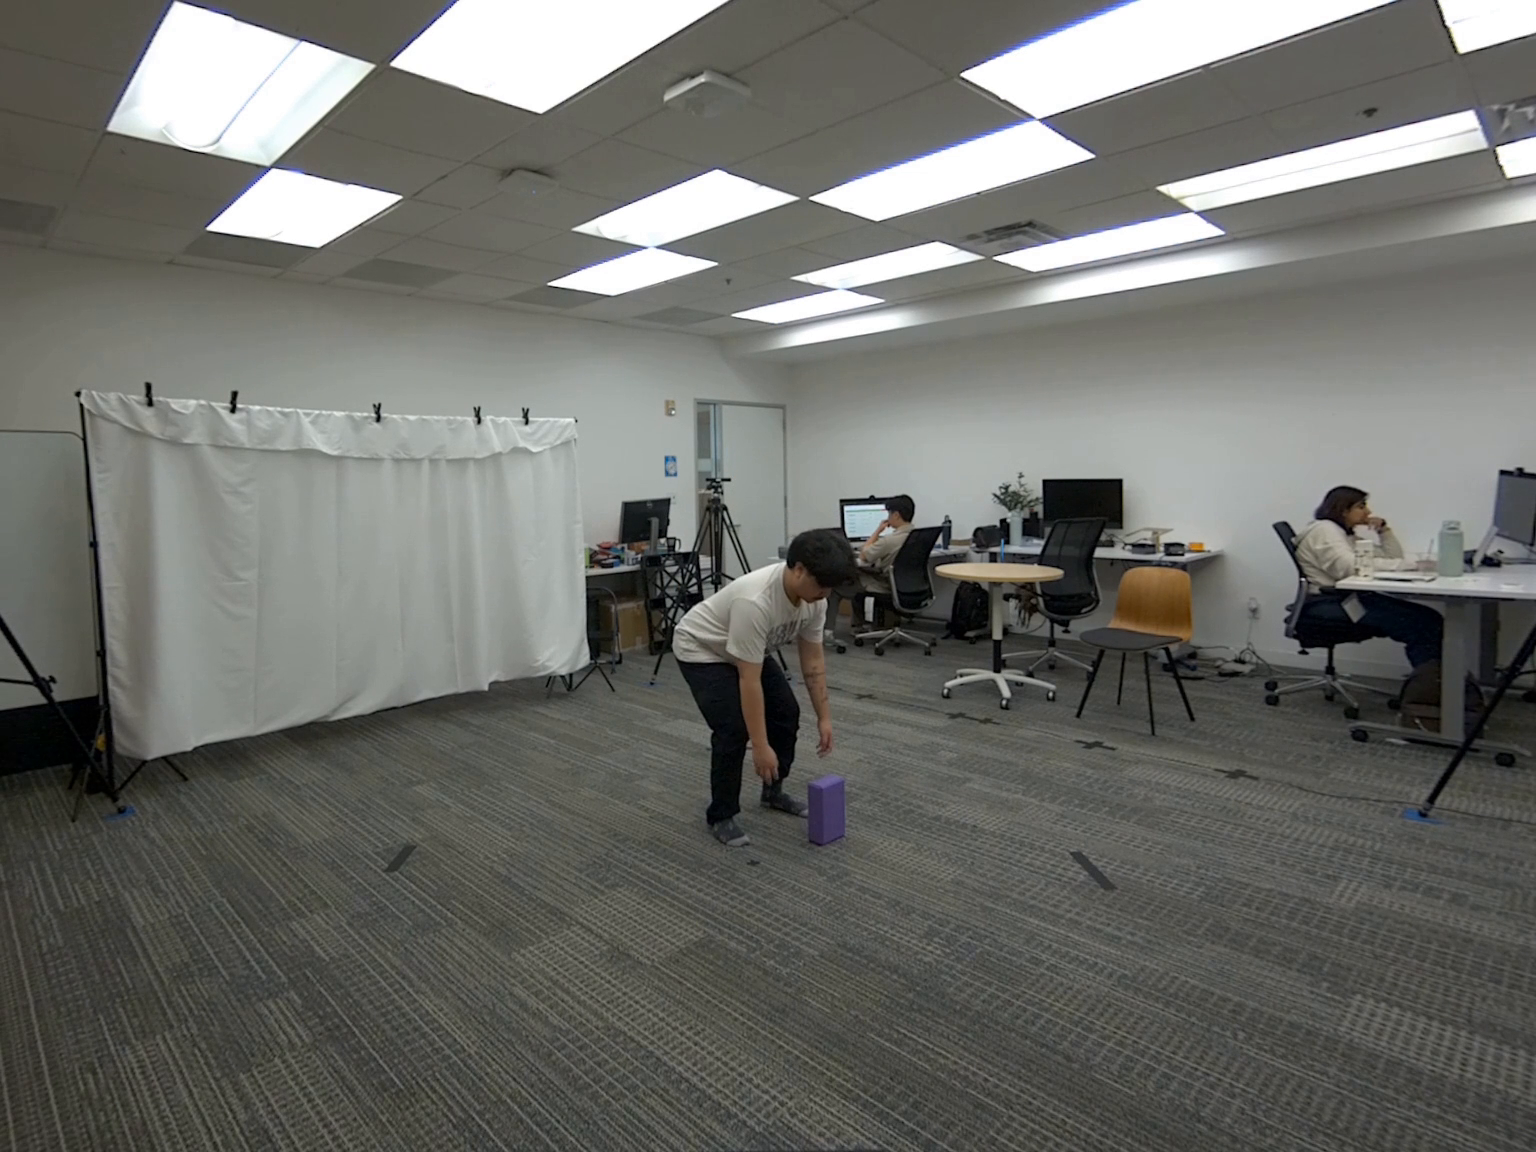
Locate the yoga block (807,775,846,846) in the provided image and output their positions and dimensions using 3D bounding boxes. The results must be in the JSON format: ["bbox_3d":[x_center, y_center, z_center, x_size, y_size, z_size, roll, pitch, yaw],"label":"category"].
[{"bbox_3d":[0.226,0.900,3.303,0.079,0.229,0.145,2,3,42],"label":"yoga block"}]
